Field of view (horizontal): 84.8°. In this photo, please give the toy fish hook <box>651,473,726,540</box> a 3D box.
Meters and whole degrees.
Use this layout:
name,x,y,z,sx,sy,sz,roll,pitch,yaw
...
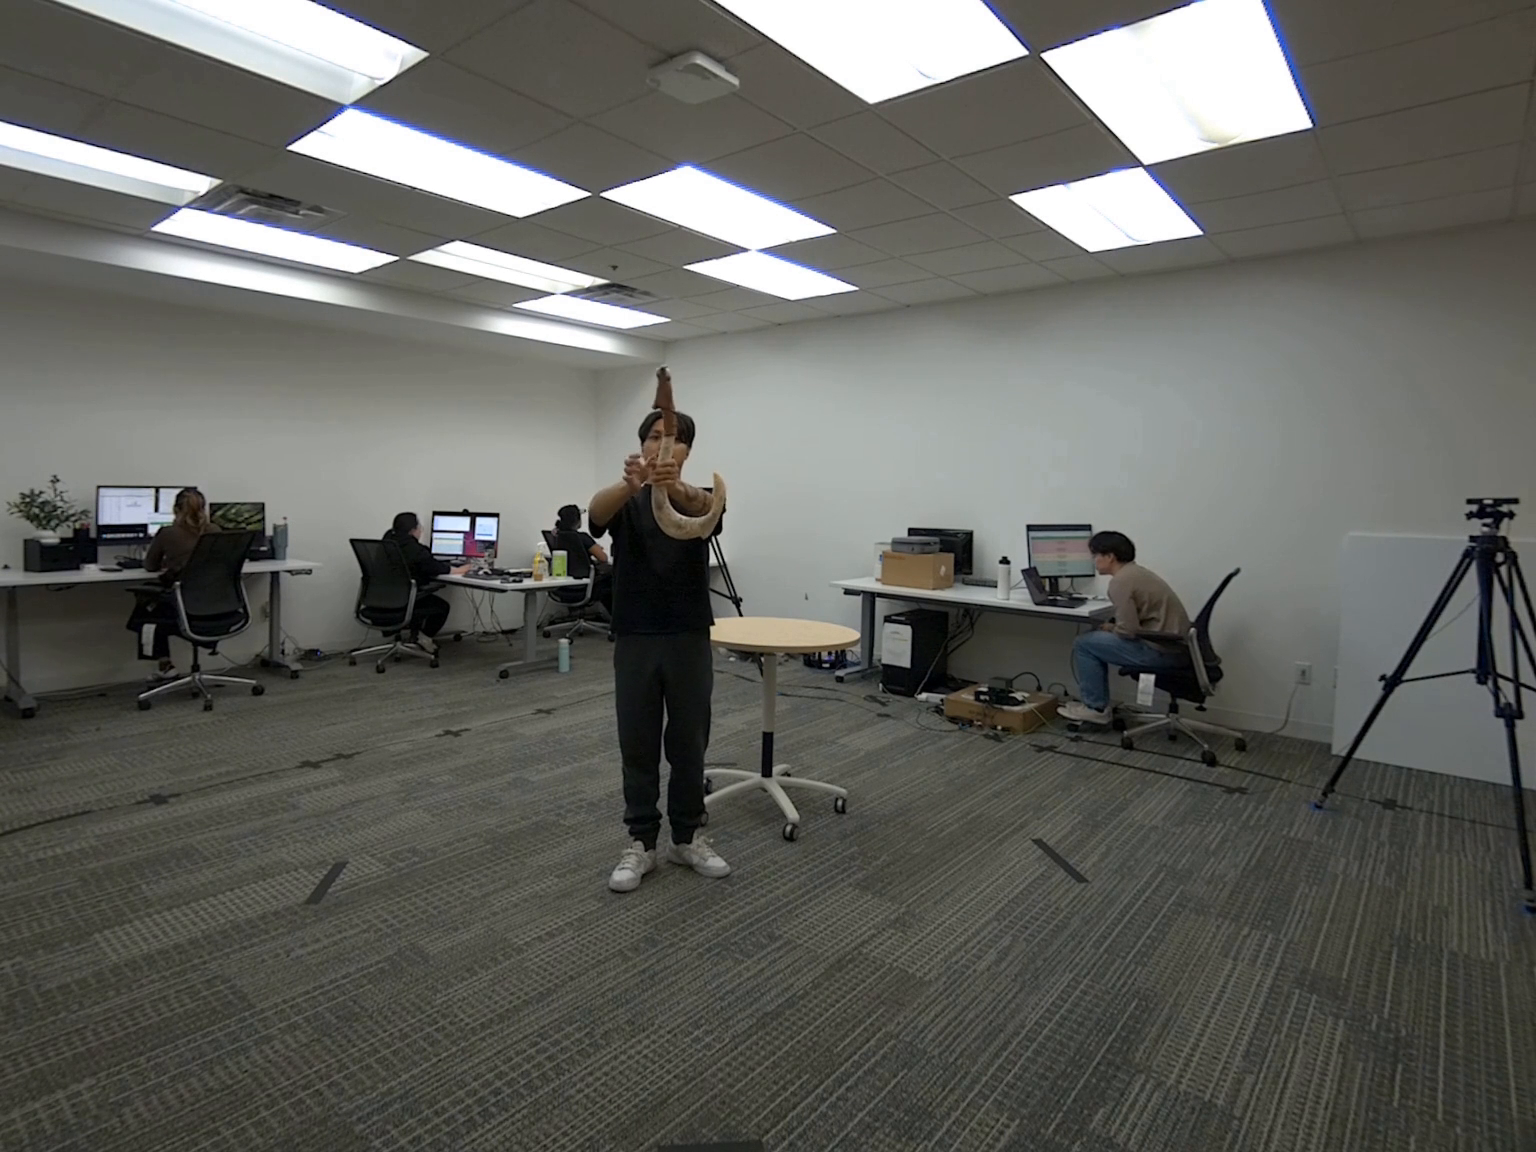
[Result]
name,x,y,z,sx,sy,sz,roll,pitch,yaw
toy fish hook,-0.258,-0.359,2.483,0.227,0.502,0.048,-1,8,8
